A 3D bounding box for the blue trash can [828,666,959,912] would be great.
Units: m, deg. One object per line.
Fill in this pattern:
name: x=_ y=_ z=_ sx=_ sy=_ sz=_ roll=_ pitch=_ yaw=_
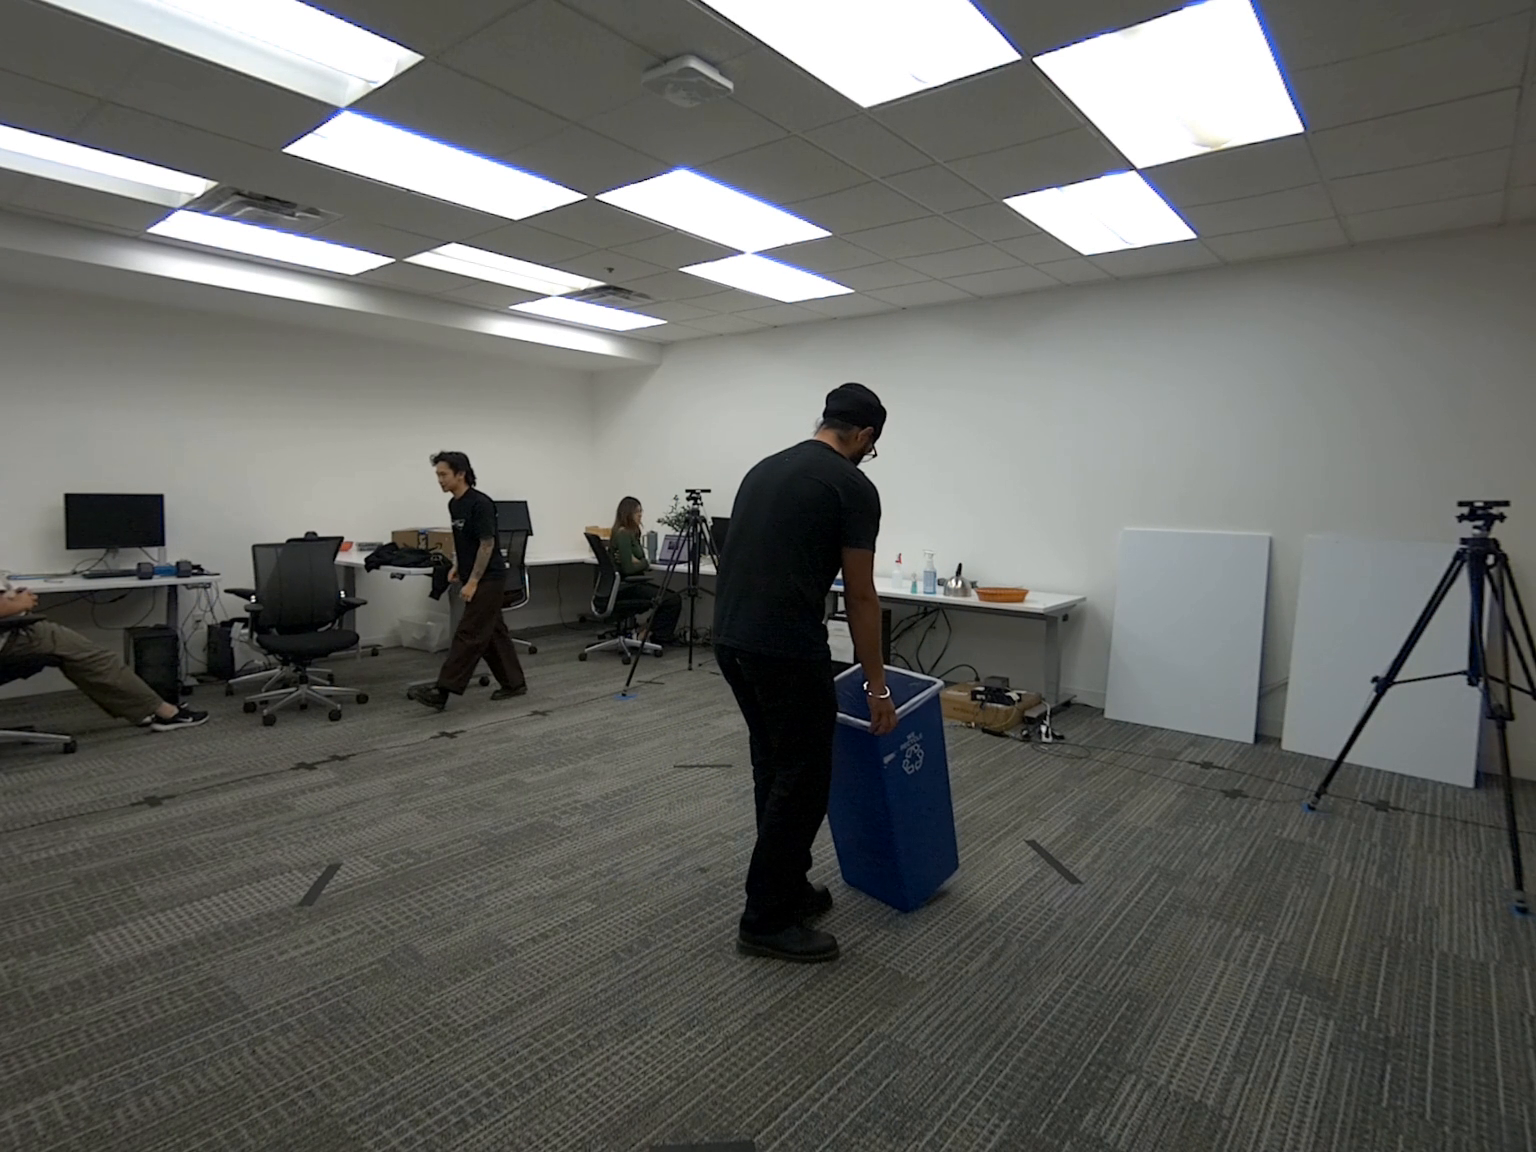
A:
blue trash can: x=0.393 y=0.721 z=2.930 sx=0.367 sy=0.703 sz=0.391 roll=-21 pitch=17 yaw=-38
